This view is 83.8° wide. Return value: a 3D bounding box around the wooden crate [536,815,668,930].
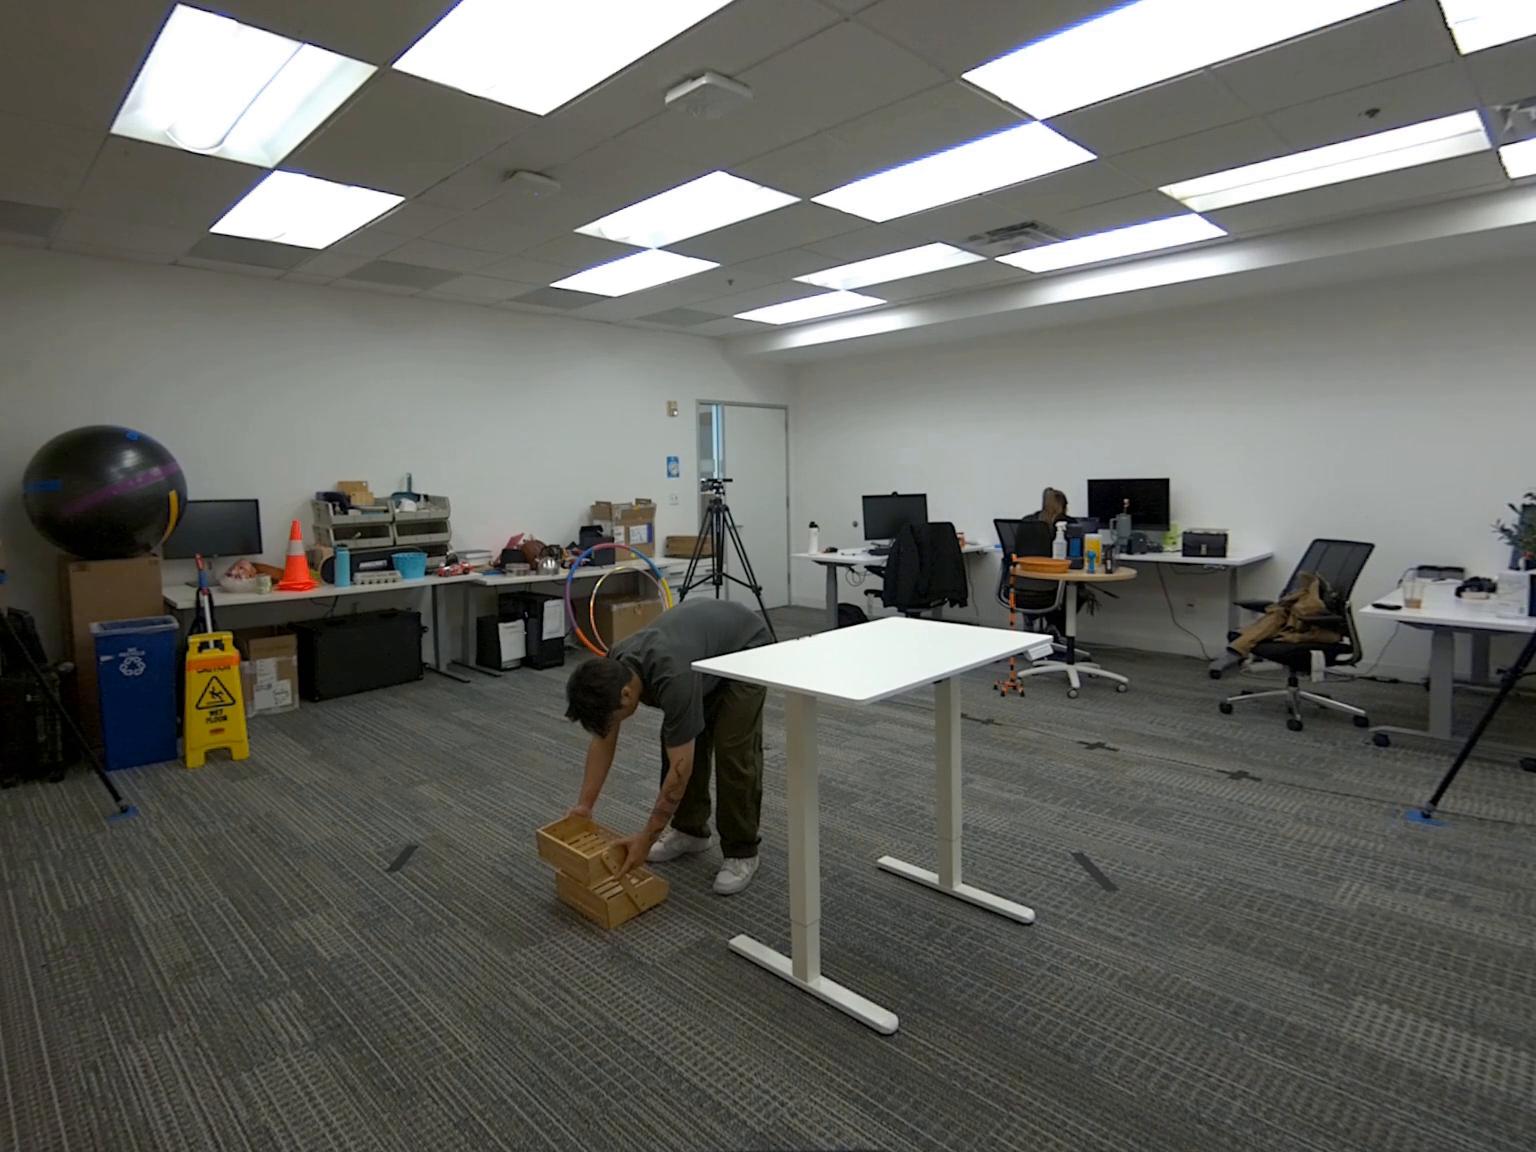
[{"bbox_3d":[-0.542,0.947,2.820,0.334,0.271,0.295,5,13,45],"label":"wooden crate"}]
